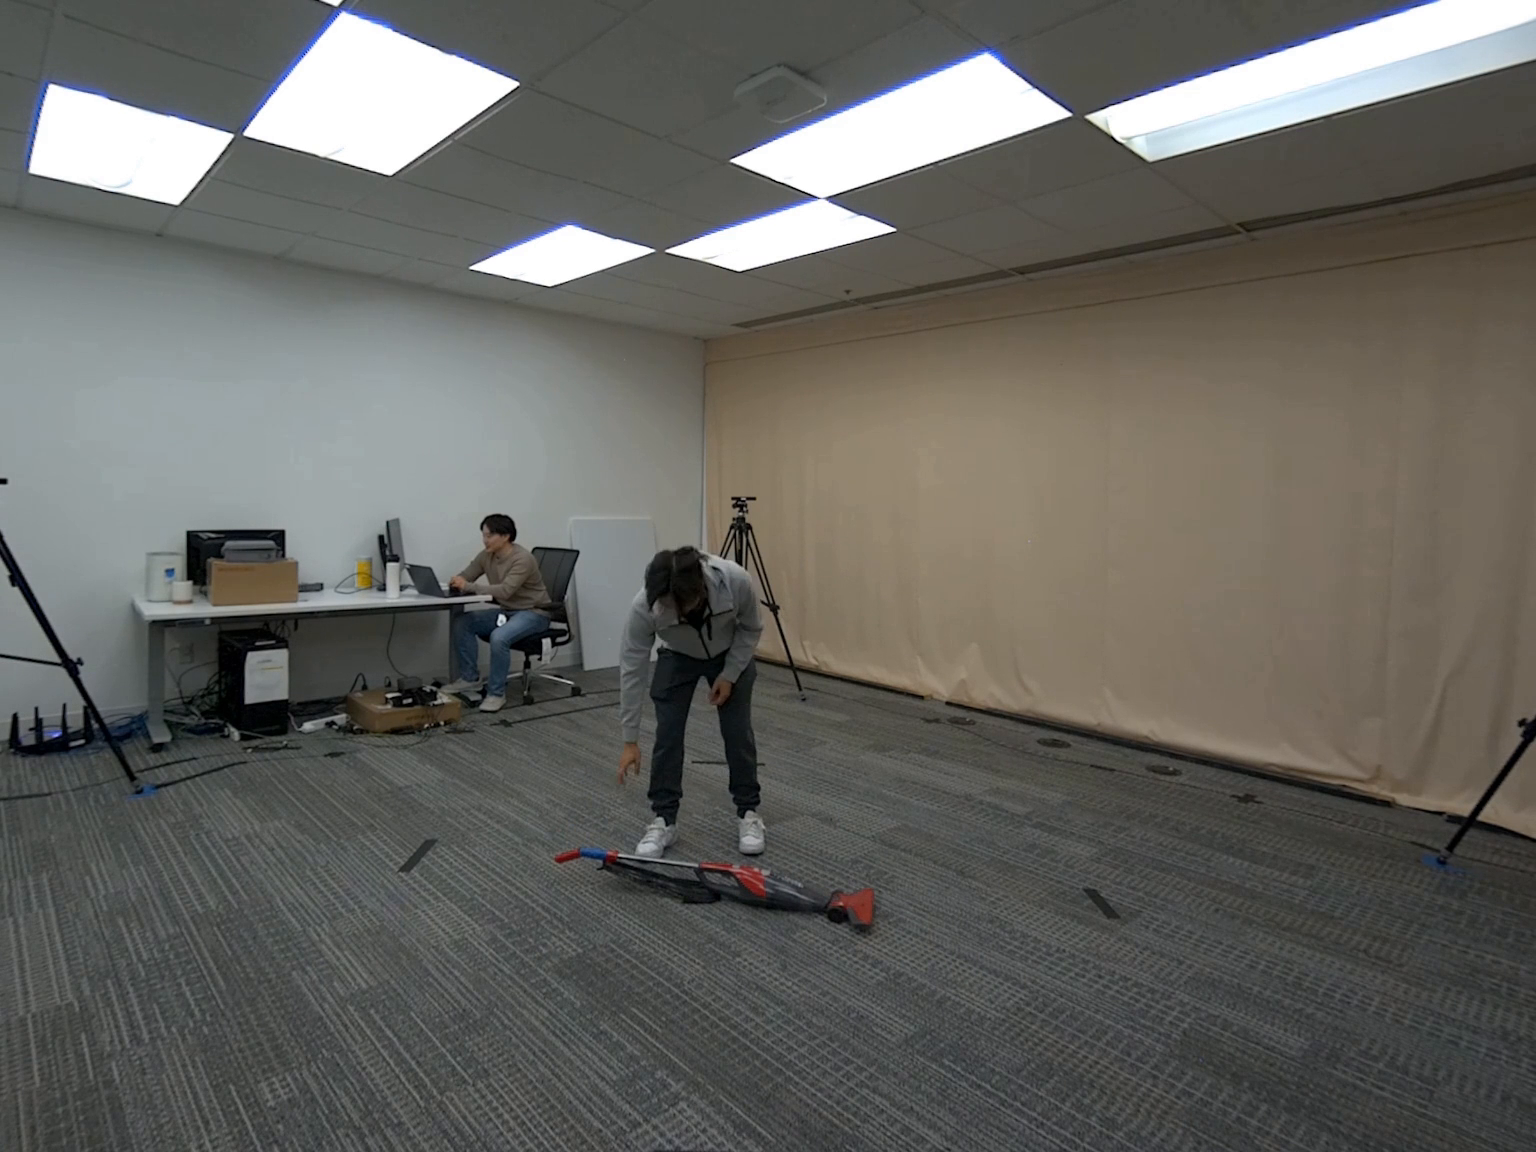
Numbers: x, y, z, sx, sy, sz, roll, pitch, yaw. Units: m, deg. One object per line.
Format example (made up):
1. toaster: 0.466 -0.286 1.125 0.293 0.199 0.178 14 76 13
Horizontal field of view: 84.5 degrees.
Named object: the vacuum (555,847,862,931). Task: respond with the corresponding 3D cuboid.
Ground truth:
1. vacuum: -0.244 1.058 2.939 1.059 0.143 0.251 4 9 11
